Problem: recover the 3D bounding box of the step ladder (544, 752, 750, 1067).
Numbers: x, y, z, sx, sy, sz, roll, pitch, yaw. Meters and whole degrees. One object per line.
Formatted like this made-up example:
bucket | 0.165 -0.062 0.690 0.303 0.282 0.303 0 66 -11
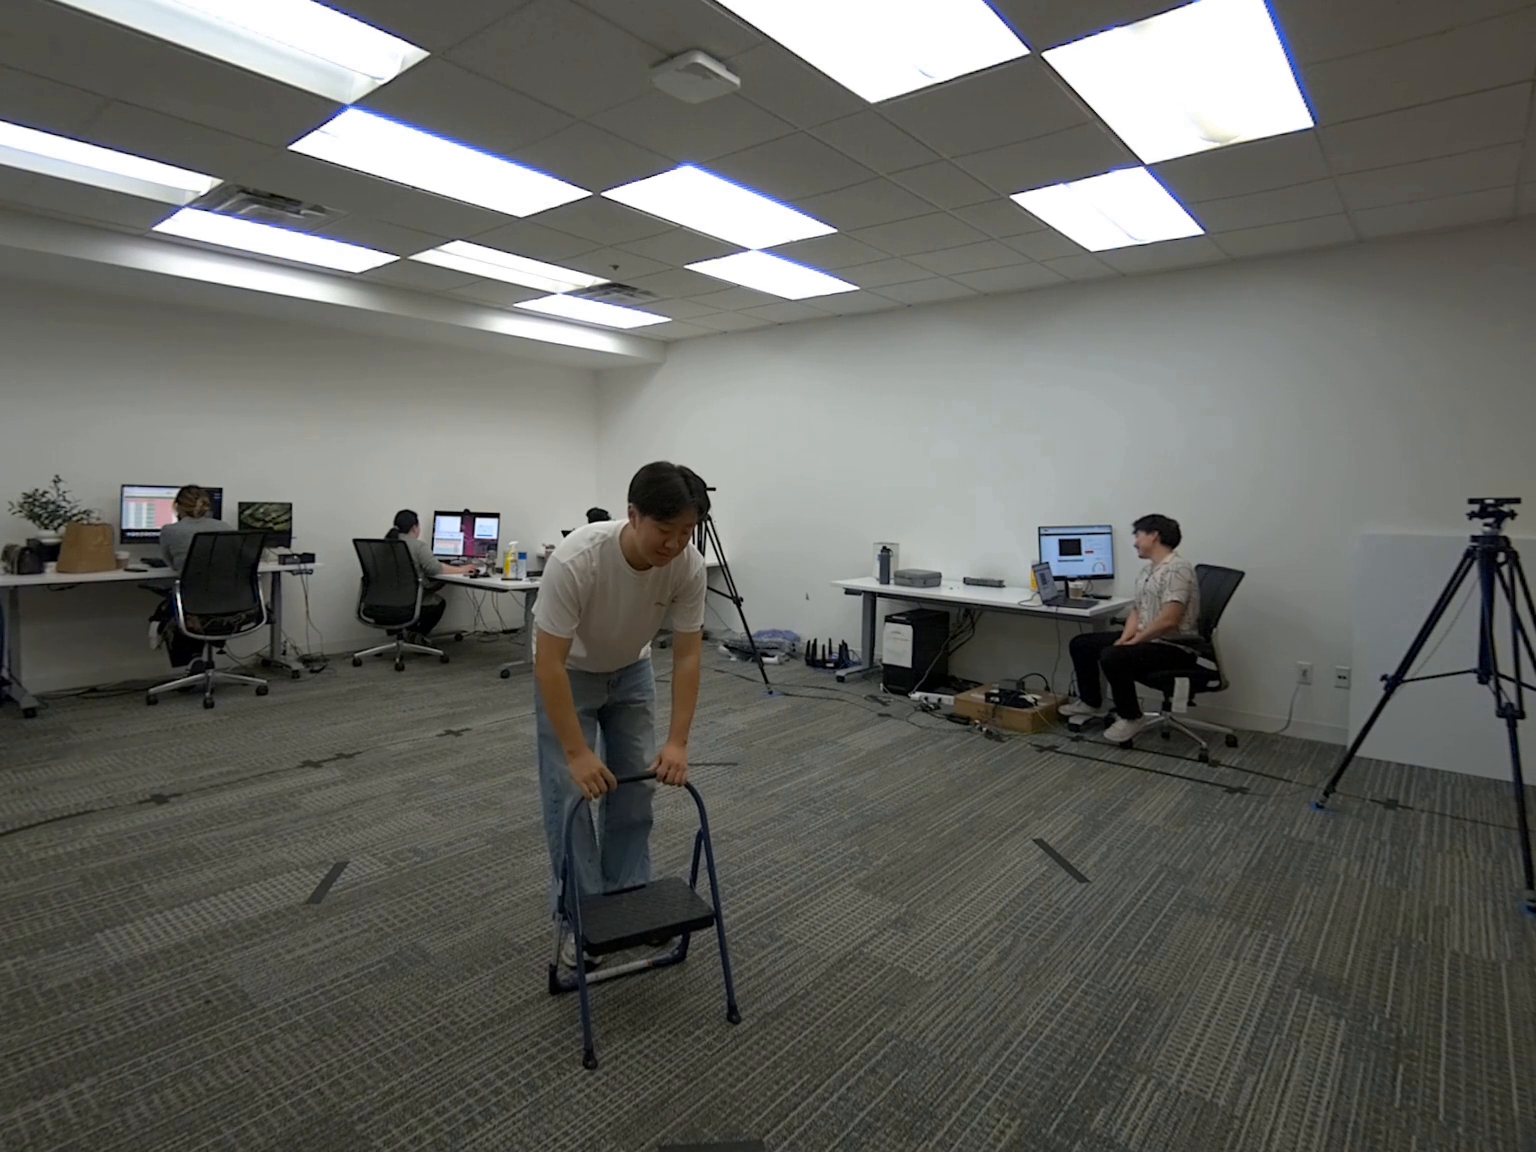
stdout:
step ladder | -0.333 0.845 2.250 0.419 0.605 0.360 0 3 -30
